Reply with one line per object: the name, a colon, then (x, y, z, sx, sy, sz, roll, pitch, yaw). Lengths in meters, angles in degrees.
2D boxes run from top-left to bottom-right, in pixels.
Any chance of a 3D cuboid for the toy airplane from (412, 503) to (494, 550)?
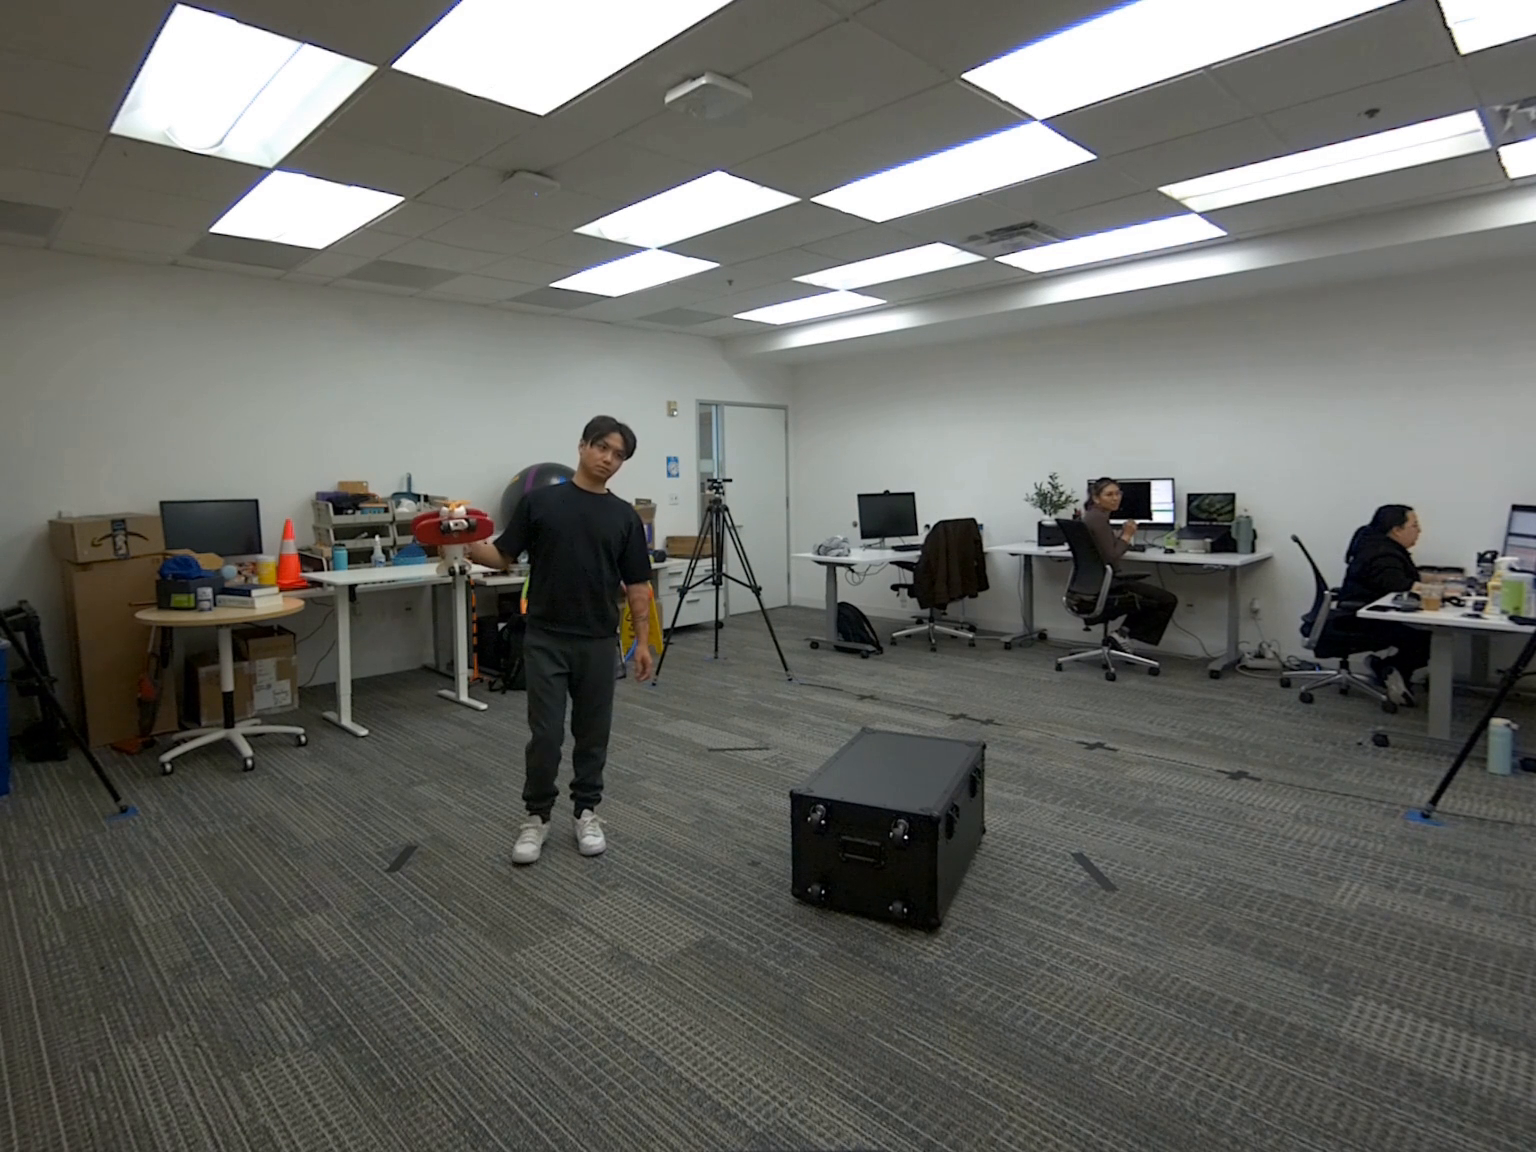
toy airplane: (-1.089, -0.124, 2.897, 0.242, 0.259, 0.162, 25, 20, -44)
